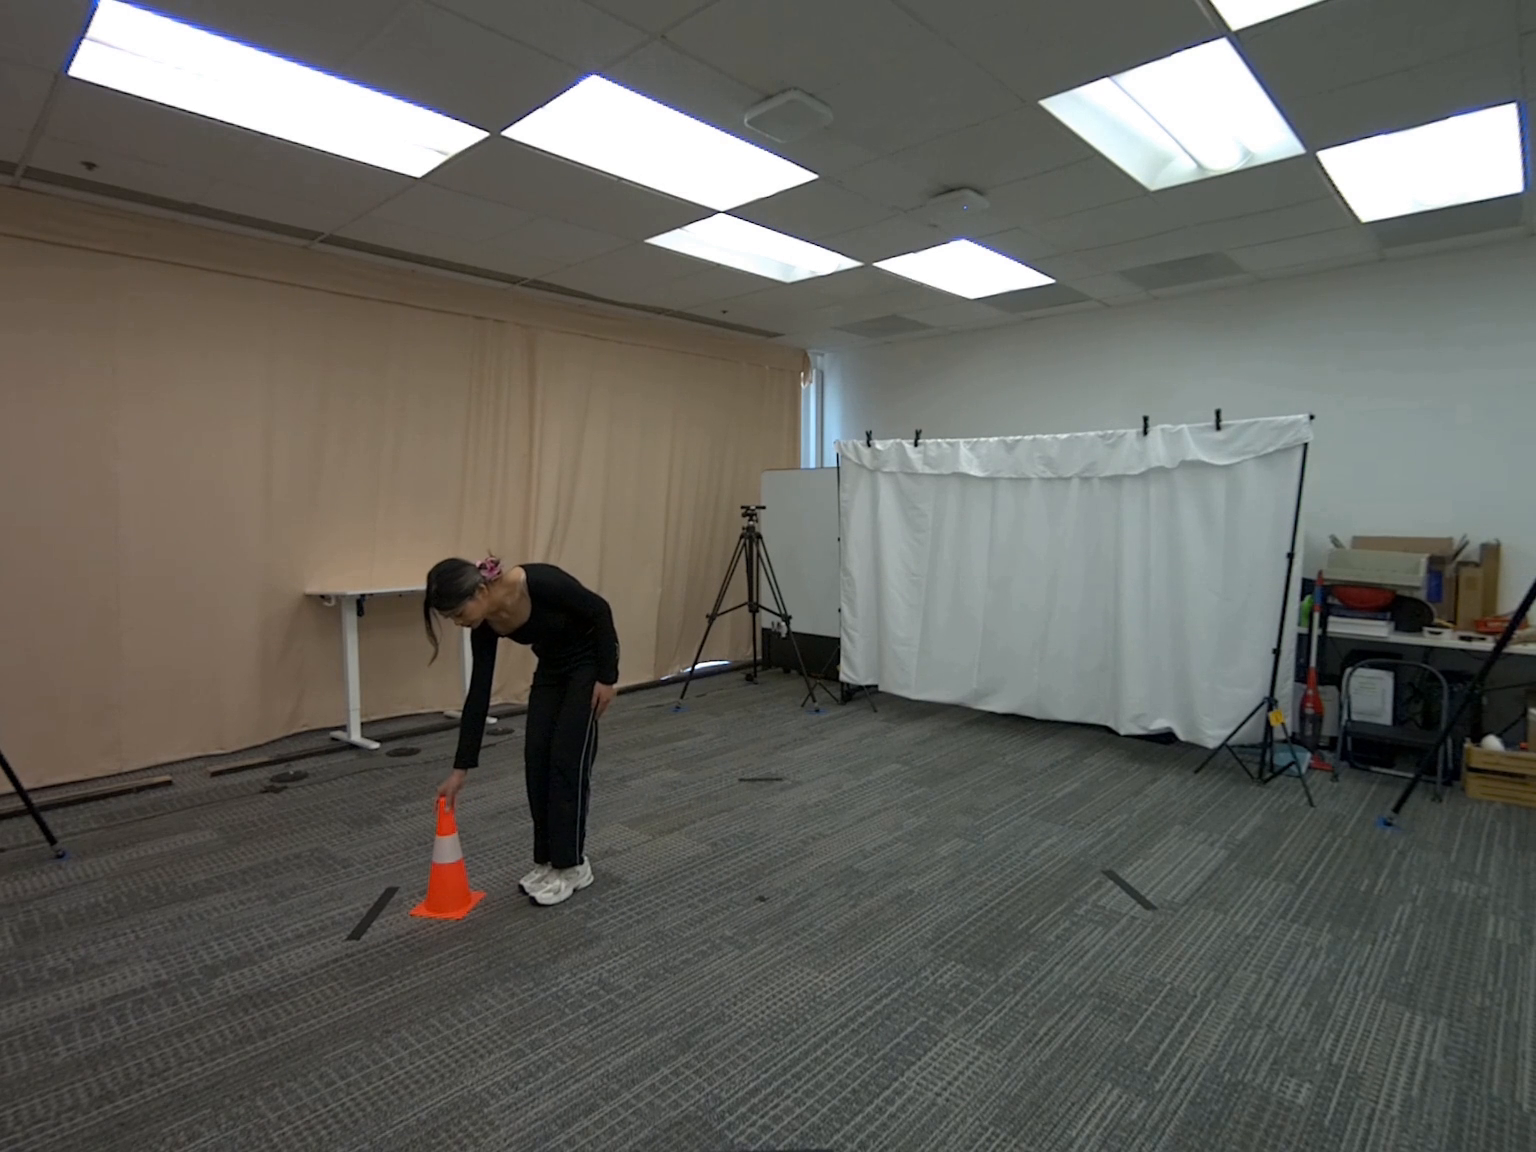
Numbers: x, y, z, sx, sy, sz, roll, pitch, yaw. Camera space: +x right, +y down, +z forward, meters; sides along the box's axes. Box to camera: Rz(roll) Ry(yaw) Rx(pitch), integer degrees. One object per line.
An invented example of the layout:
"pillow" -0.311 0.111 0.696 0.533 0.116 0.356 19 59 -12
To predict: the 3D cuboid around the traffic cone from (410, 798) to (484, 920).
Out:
"traffic cone" -1.128 0.969 2.959 0.207 0.383 0.202 0 1 7
